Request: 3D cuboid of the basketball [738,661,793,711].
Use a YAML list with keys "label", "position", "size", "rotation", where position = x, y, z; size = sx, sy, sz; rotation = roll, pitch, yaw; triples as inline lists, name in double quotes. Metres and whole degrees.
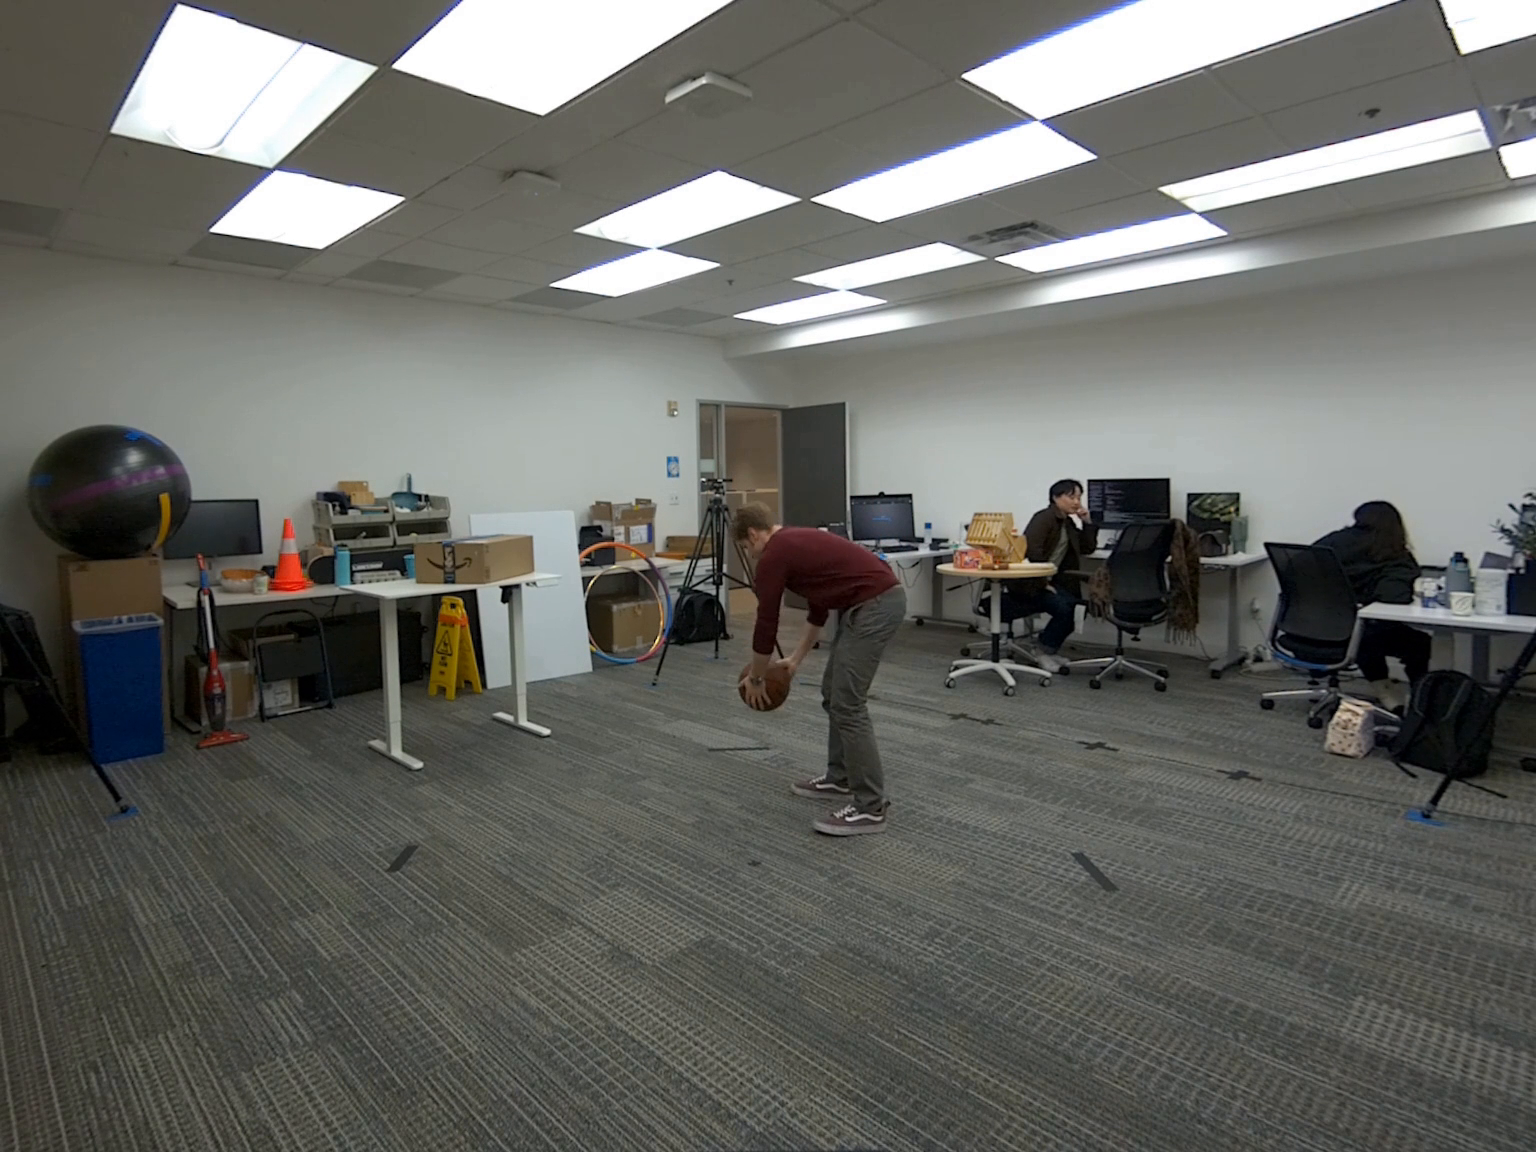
- label: "basketball"
  position: [-0.010, 0.499, 3.912]
  size: [0.236, 0.235, 0.237]
  rotation: [-1, 5, -2]
